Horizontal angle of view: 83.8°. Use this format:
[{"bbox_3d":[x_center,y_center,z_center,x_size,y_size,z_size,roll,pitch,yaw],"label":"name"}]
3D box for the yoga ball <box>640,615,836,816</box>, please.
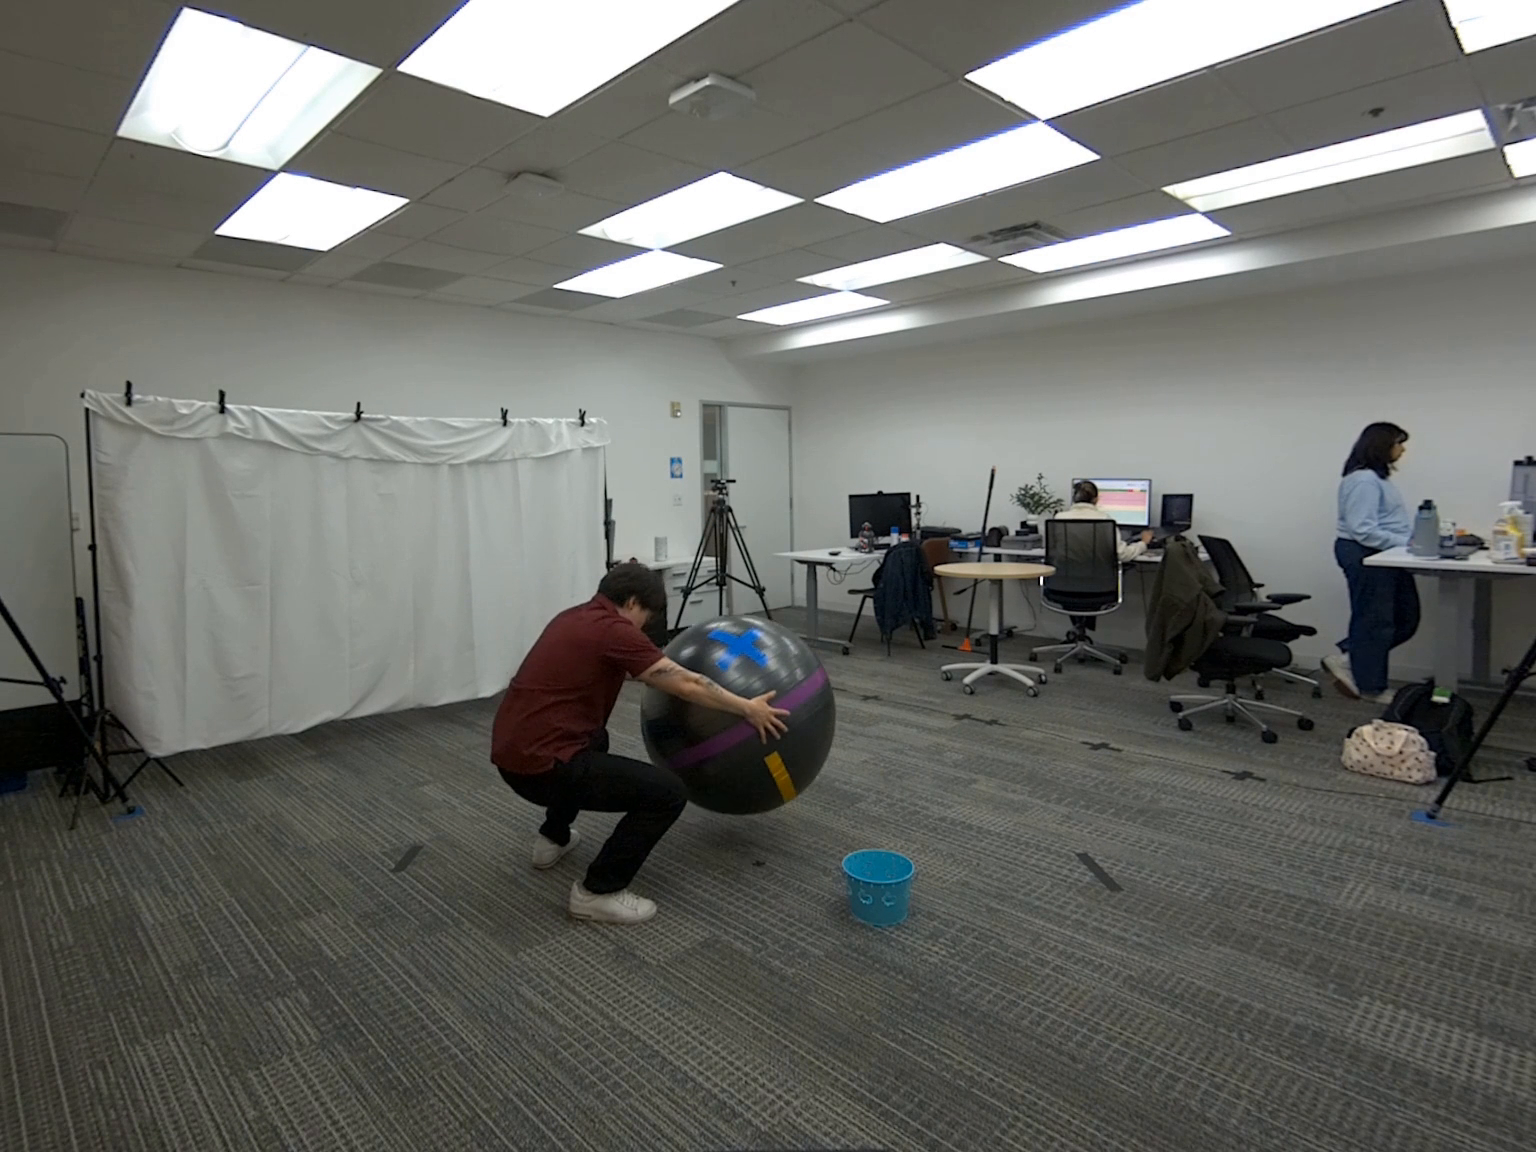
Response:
[{"bbox_3d":[-0.119,0.532,3.329,0.757,0.755,0.762,-1,5,-2],"label":"yoga ball"}]
